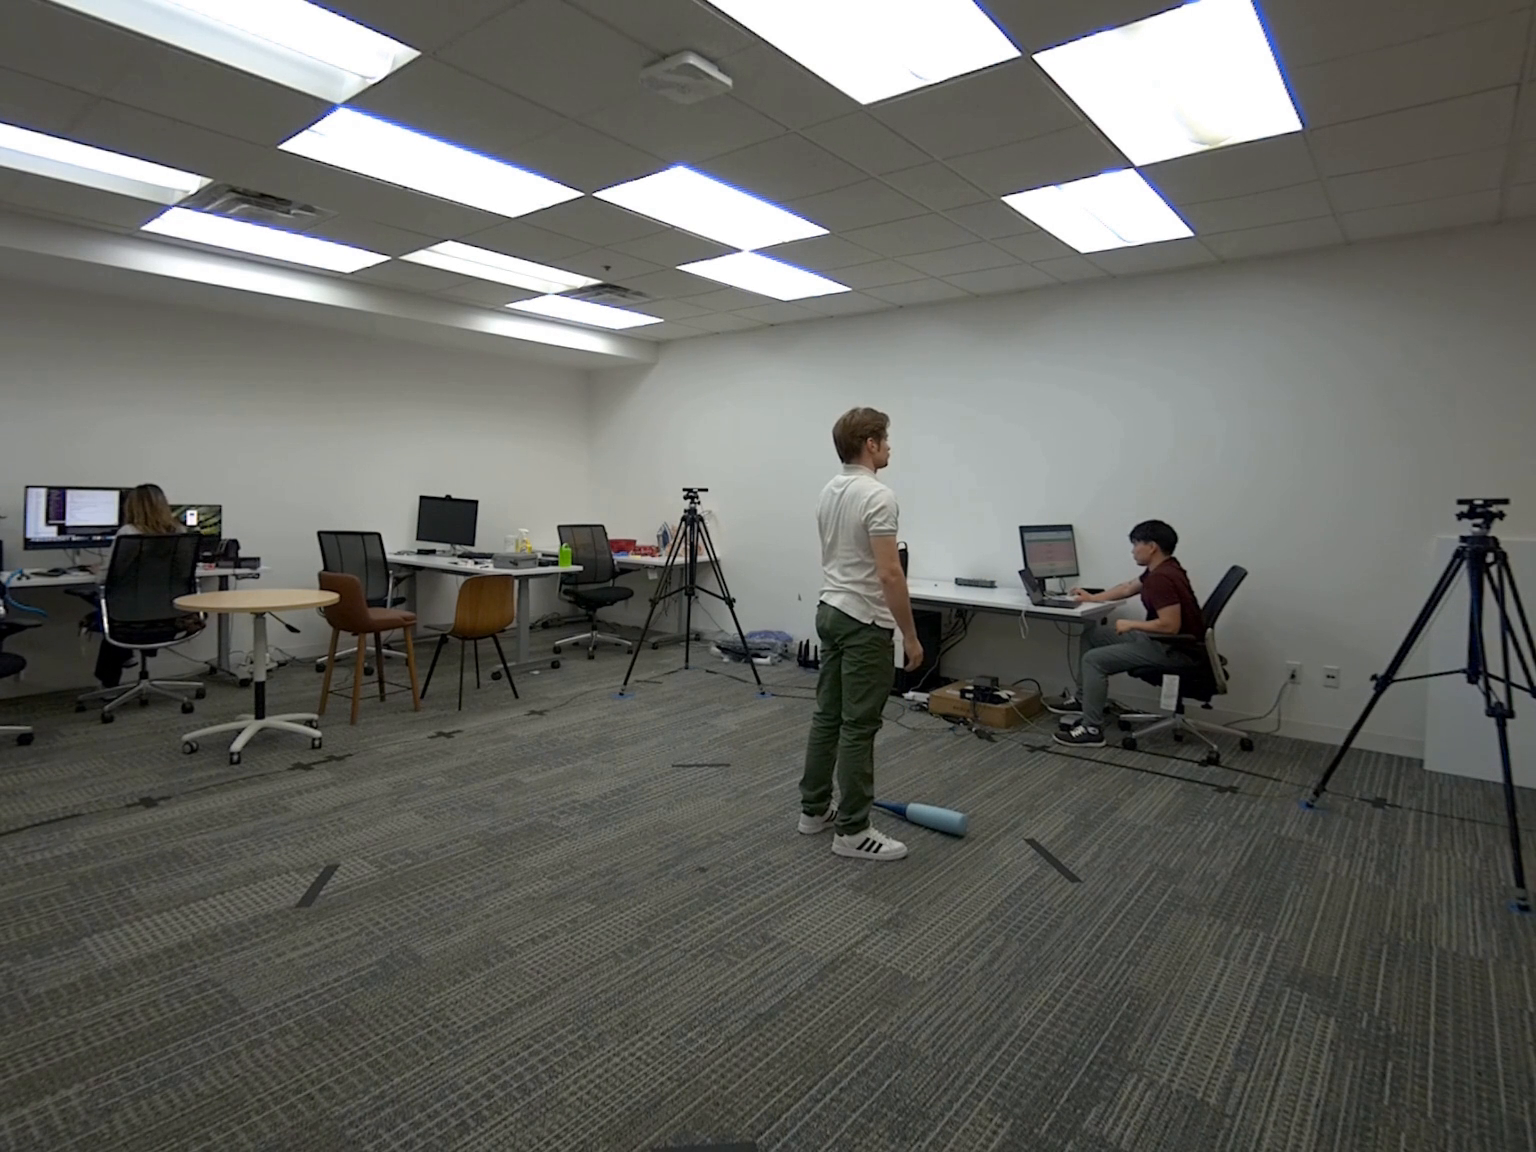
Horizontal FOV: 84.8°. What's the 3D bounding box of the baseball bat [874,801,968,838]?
[{"bbox_3d":[0.584,1.001,3.631,0.561,0.089,0.086,3,4,42],"label":"baseball bat"}]
